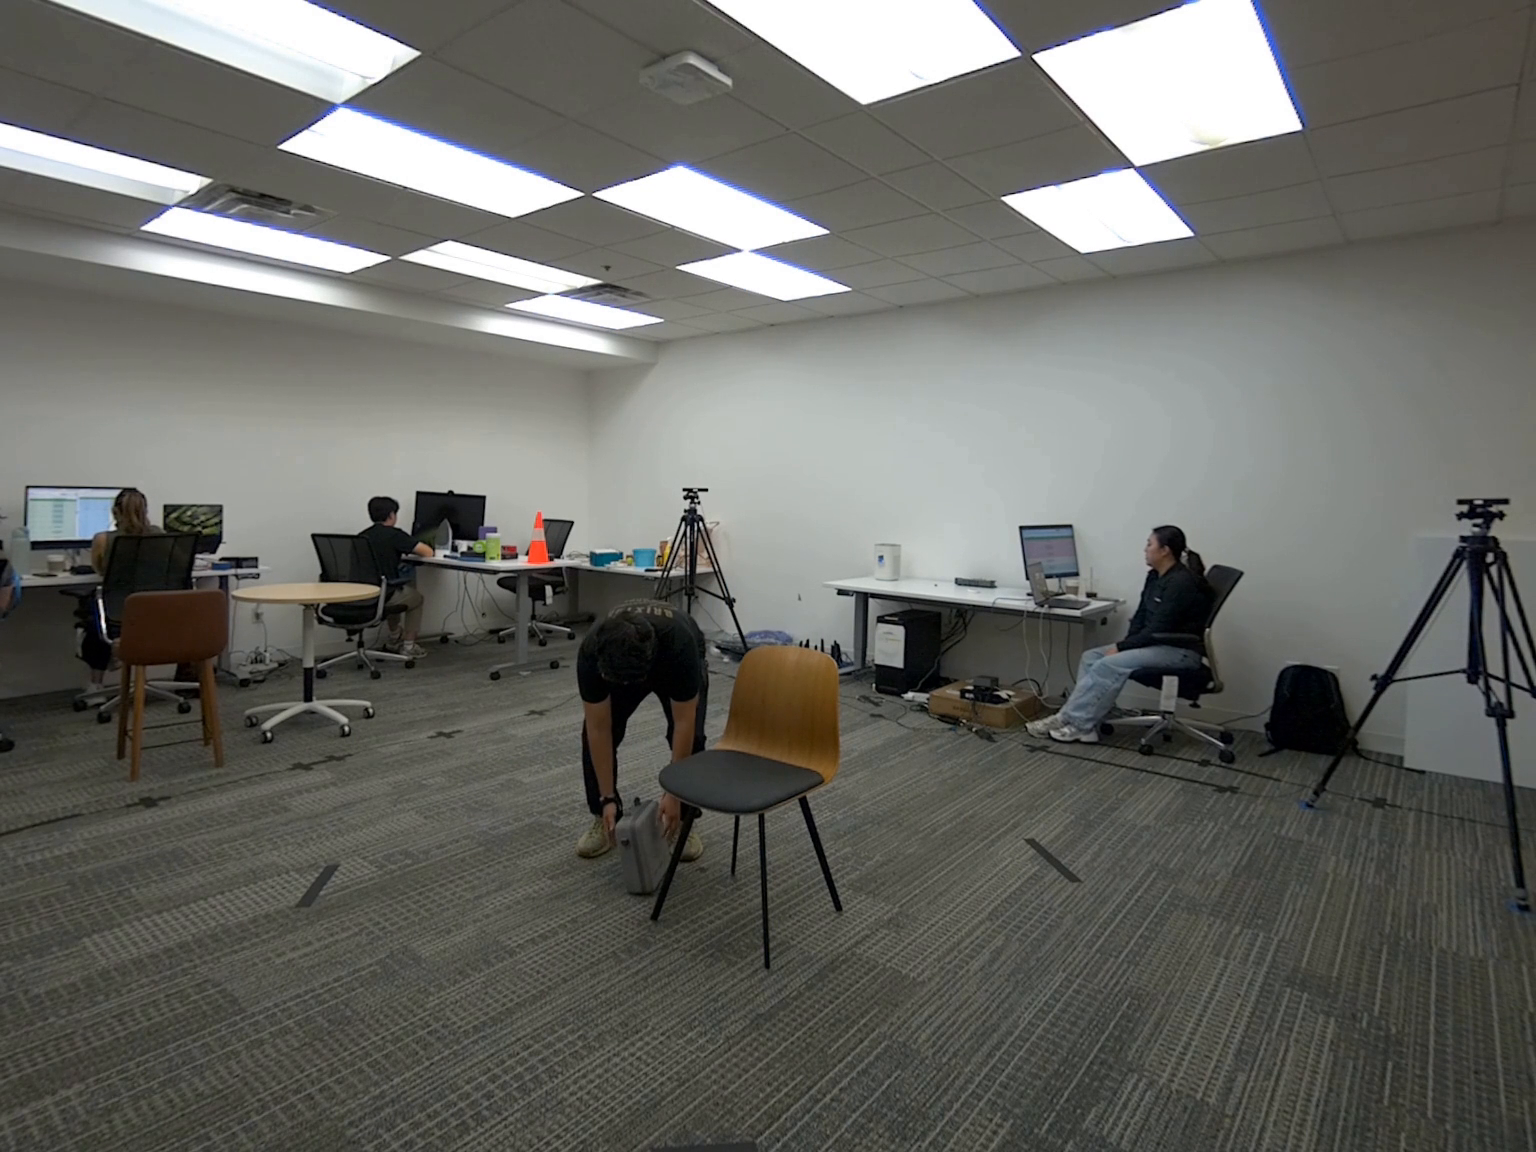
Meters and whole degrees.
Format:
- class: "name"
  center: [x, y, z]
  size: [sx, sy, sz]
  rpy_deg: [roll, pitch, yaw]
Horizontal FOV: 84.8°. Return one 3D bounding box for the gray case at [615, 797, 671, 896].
- class: "gray case"
  center: [-0.448, 0.946, 2.996]
  size: [0.105, 0.260, 0.255]
  rpy_deg: [-13, 2, 8]
